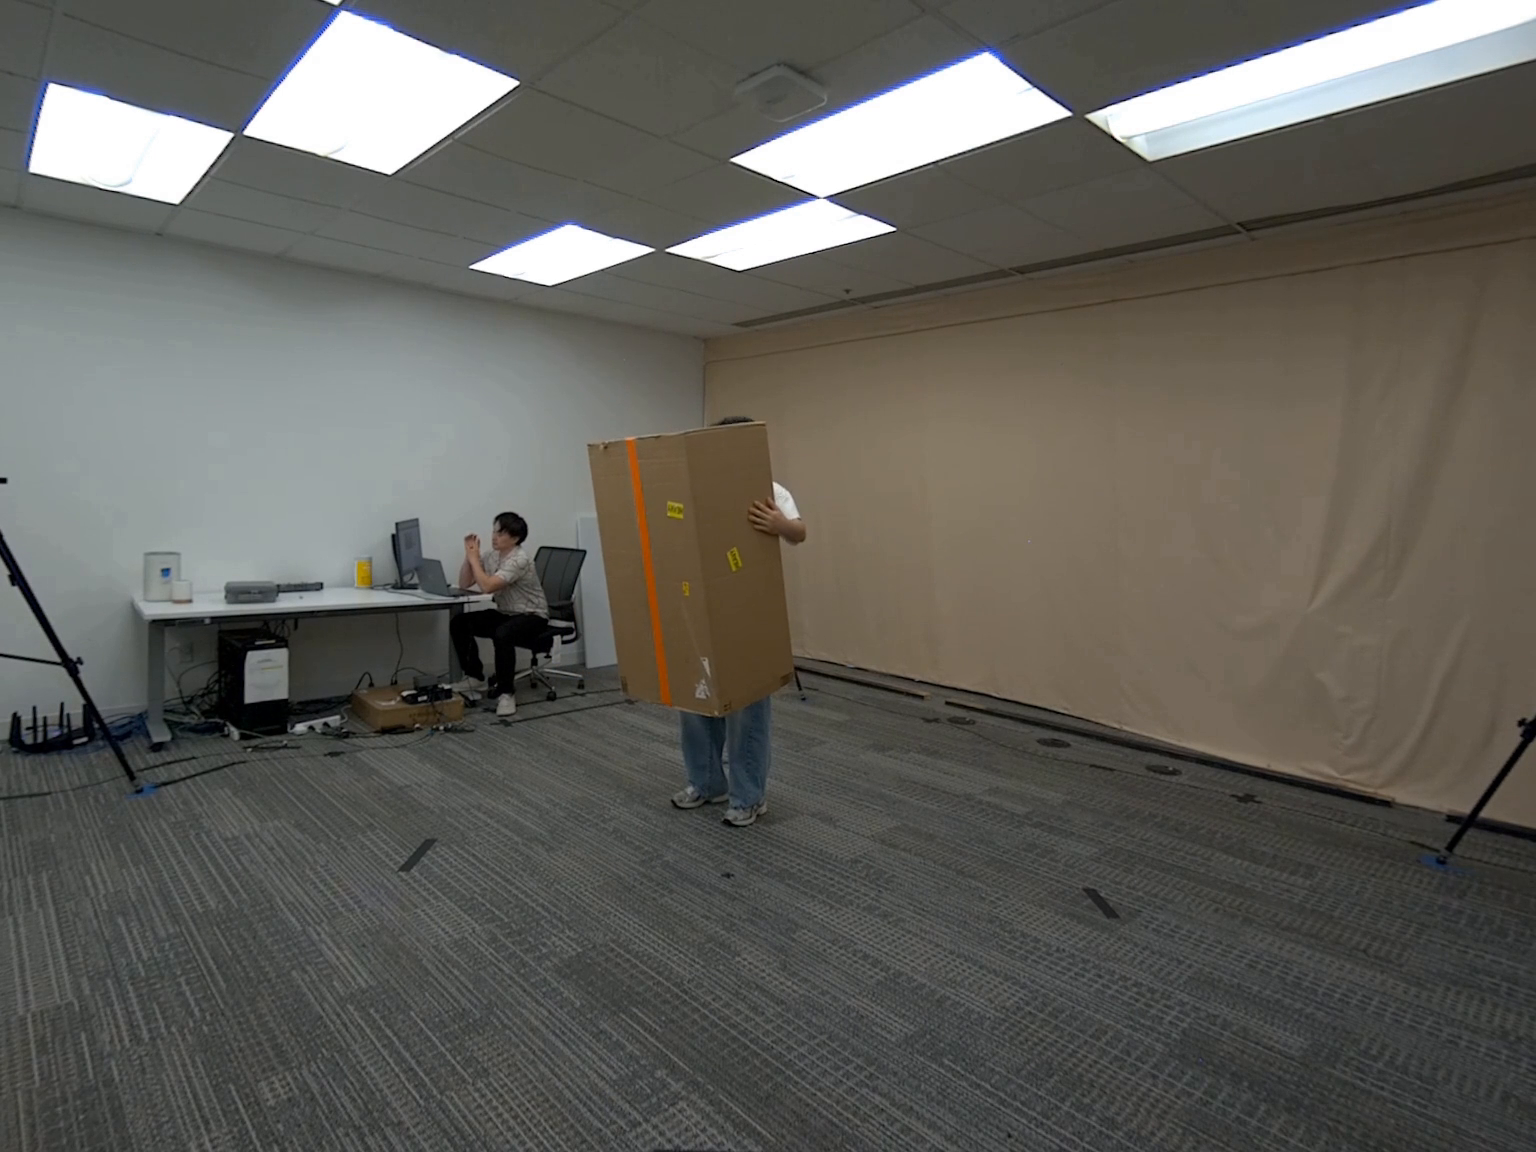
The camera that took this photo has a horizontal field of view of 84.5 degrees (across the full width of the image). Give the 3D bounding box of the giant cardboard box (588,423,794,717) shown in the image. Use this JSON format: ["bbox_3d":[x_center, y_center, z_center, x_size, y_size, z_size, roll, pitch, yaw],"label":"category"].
[{"bbox_3d":[-0.314,-0.047,3.274,0.592,1.019,0.419,2,11,43],"label":"giant cardboard box"}]
